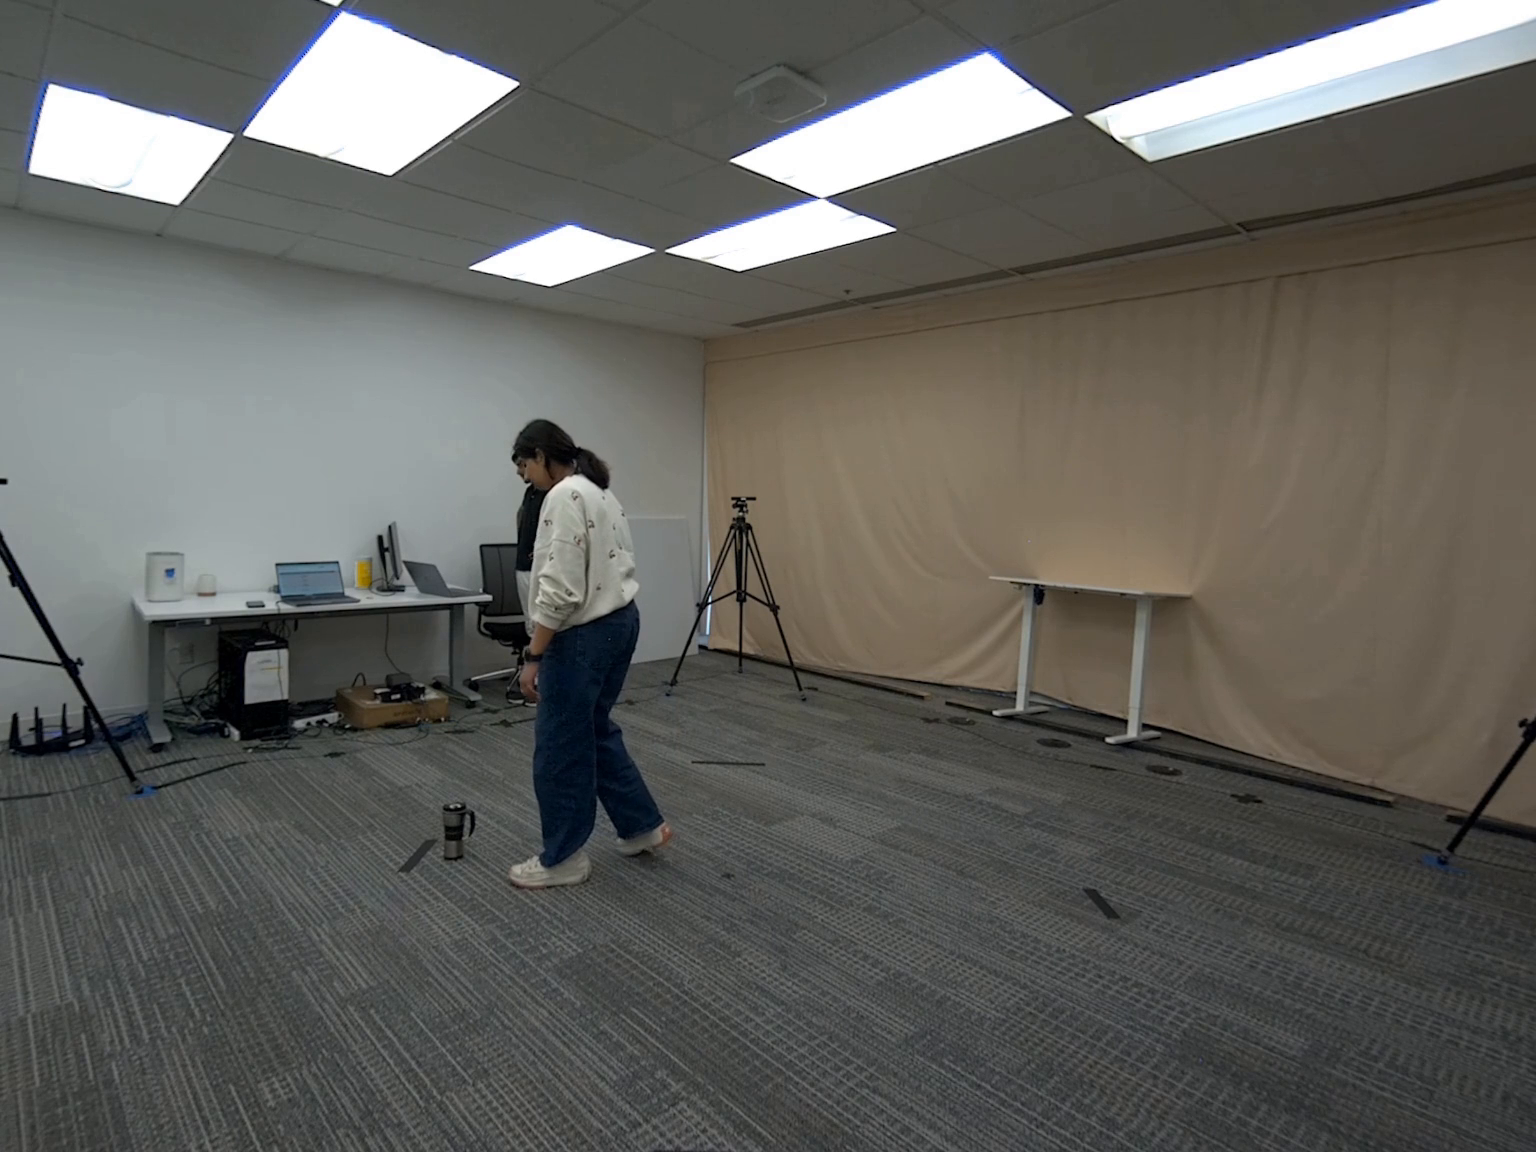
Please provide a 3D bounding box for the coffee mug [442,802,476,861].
[{"bbox_3d":[-1.183,0.974,3.192,0.125,0.203,0.086,0,-3,44],"label":"coffee mug"}]
